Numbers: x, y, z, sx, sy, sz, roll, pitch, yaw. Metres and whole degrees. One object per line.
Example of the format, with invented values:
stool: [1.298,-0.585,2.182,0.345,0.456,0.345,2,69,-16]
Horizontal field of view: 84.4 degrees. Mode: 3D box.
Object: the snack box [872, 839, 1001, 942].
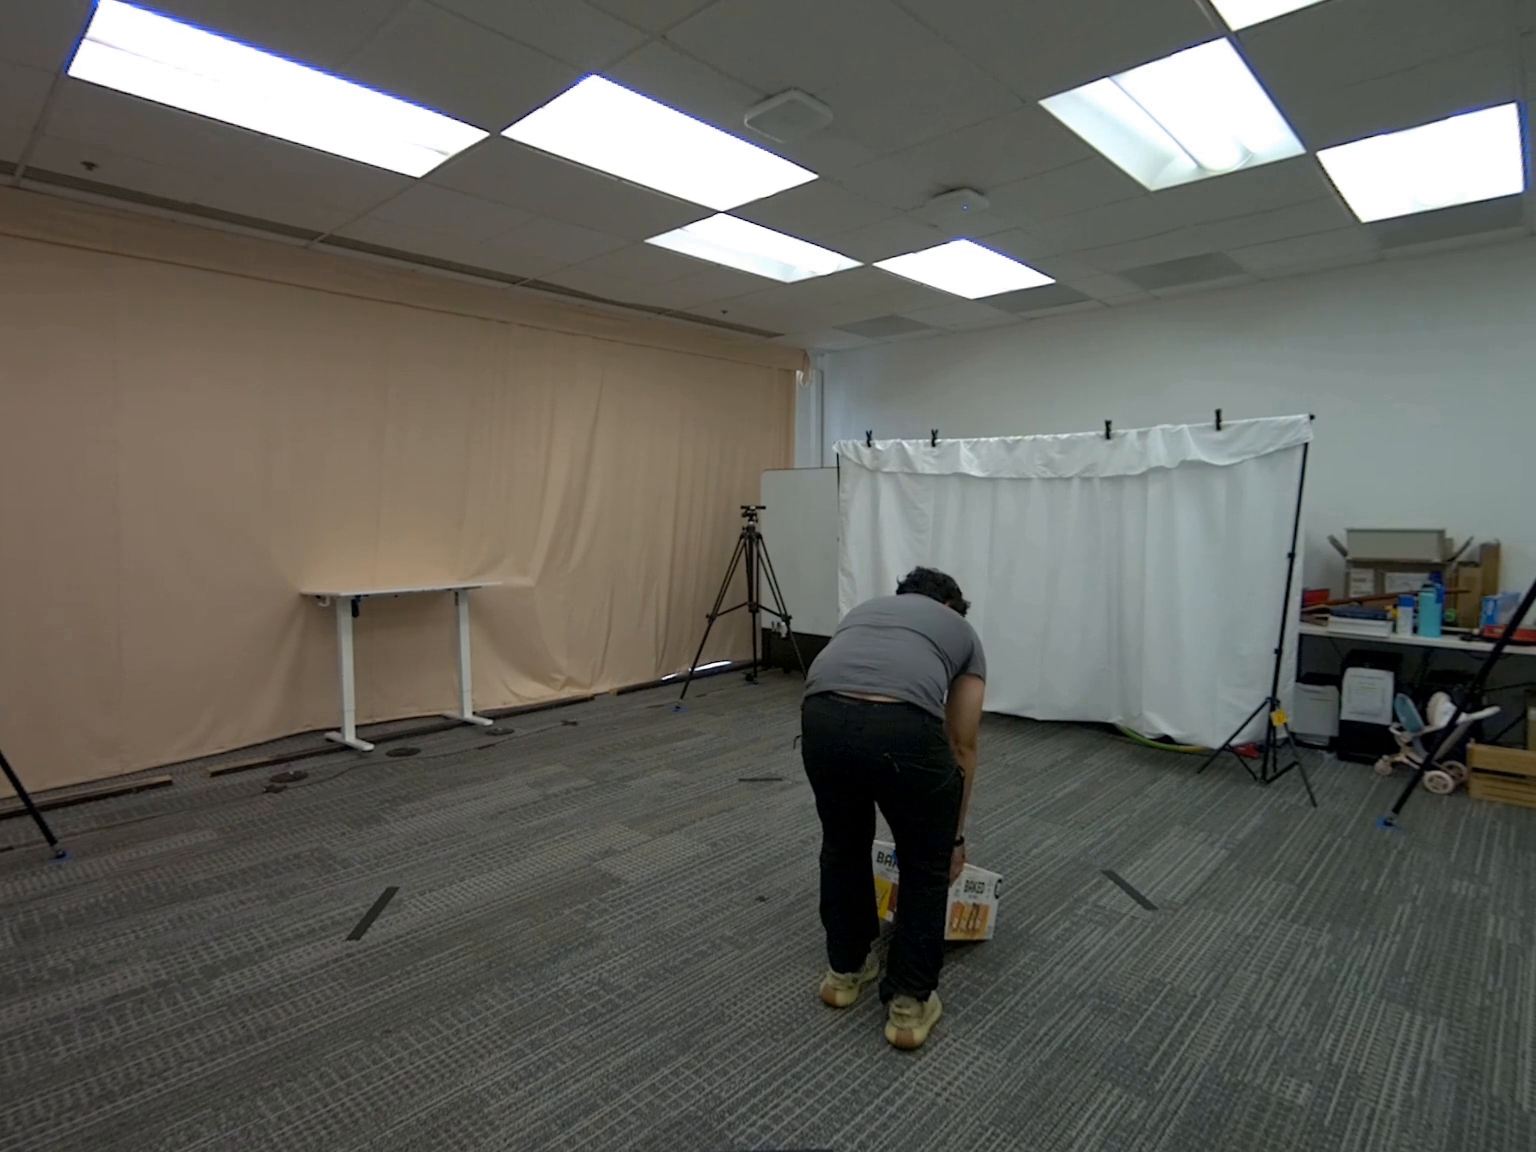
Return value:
snack box: [0.500,1.004,2.691,0.352,0.206,0.390,5,-15,41]
